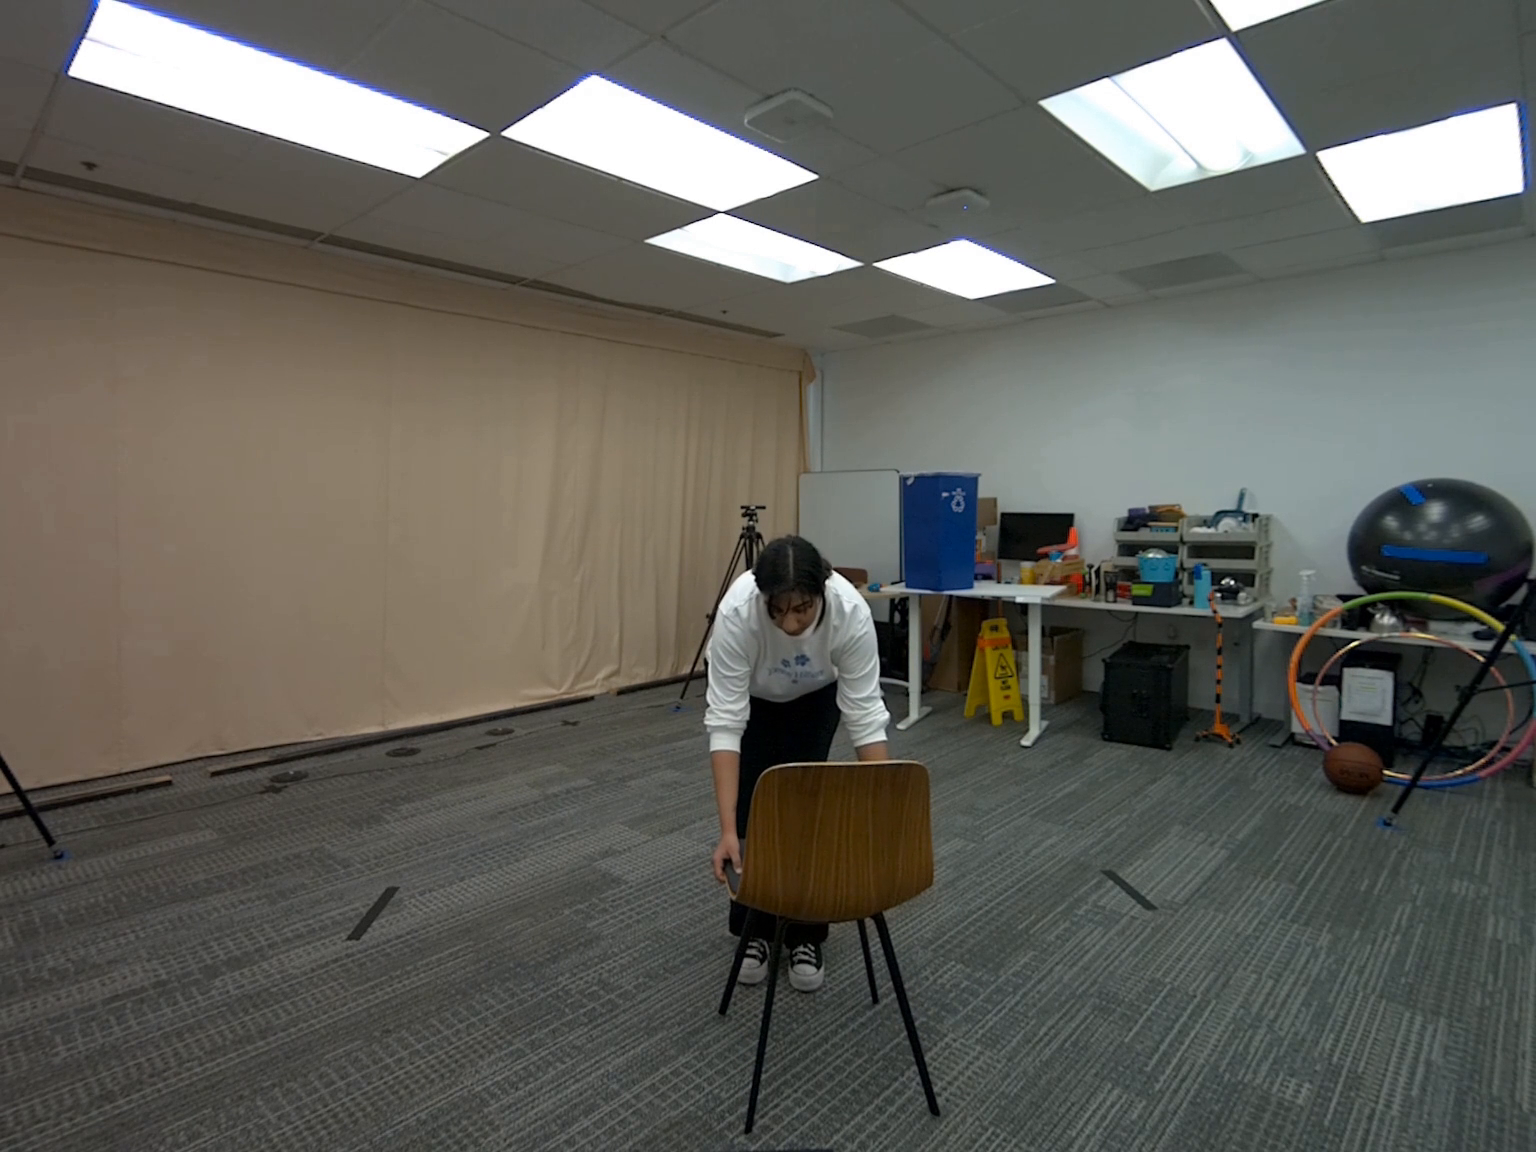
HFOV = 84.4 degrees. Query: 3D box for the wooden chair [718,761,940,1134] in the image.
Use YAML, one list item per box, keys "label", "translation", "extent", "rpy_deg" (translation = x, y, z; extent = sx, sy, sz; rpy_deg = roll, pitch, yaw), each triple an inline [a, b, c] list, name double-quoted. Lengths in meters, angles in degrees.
- label: "wooden chair"
  translation: [0.134, 0.786, 2.101]
  extent: [0.474, 0.873, 0.530]
  rpy_deg: [-1, 8, -9]
